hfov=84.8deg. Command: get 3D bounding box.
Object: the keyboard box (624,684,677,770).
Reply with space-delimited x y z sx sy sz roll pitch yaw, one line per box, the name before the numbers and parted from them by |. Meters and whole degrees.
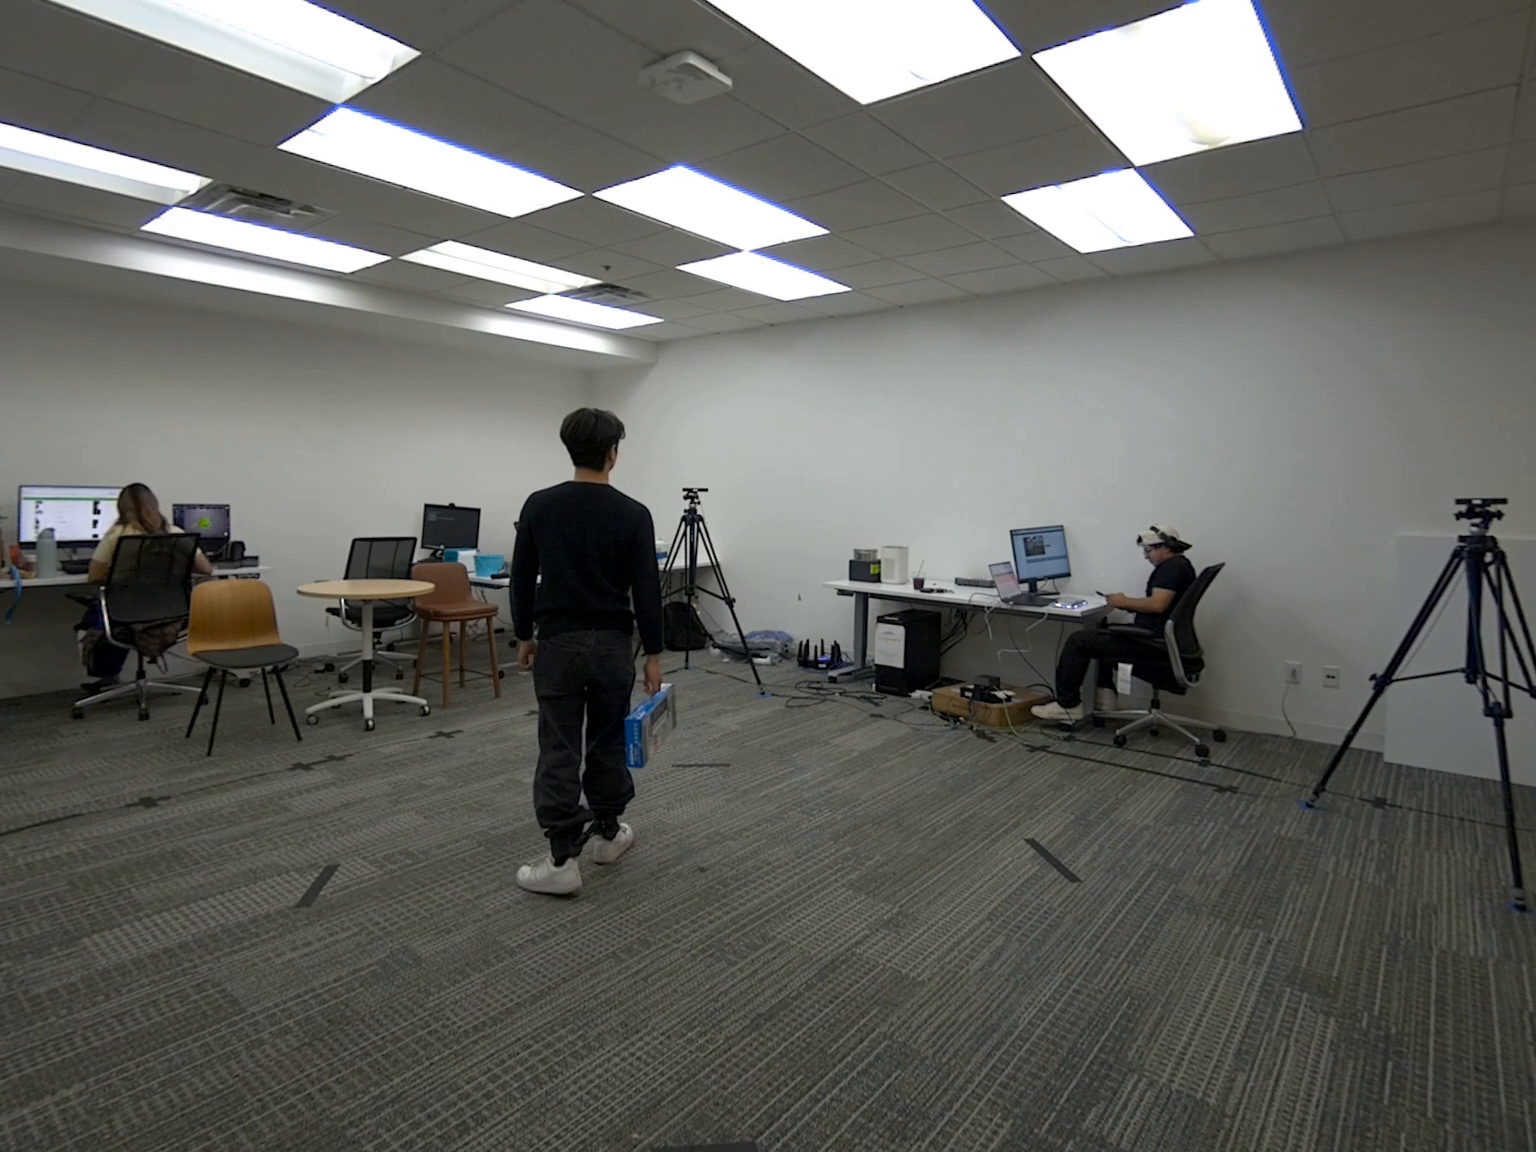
keyboard box | -0.434 0.531 3.107 0.060 0.175 0.434 0 8 10
